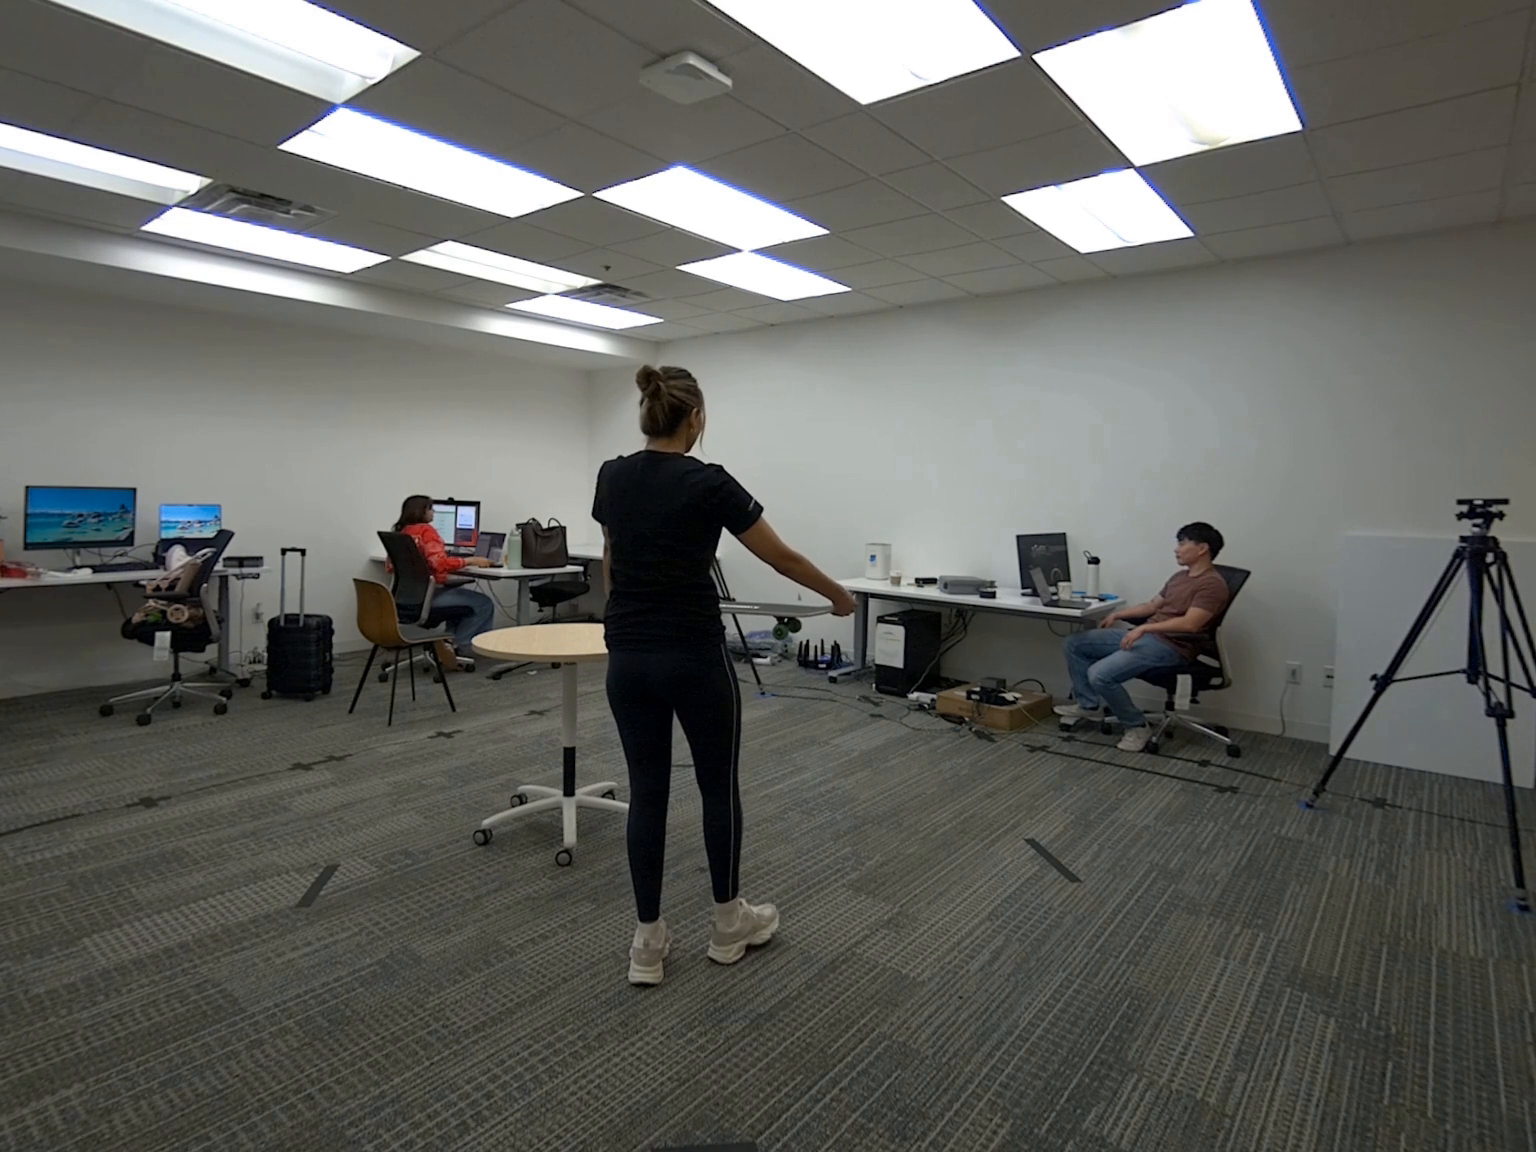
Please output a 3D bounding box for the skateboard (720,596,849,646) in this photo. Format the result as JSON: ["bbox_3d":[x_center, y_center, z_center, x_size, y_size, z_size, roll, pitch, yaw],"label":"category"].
[{"bbox_3d":[-0.142,0.139,2.826,0.802,0.110,0.190,1,7,21],"label":"skateboard"}]
